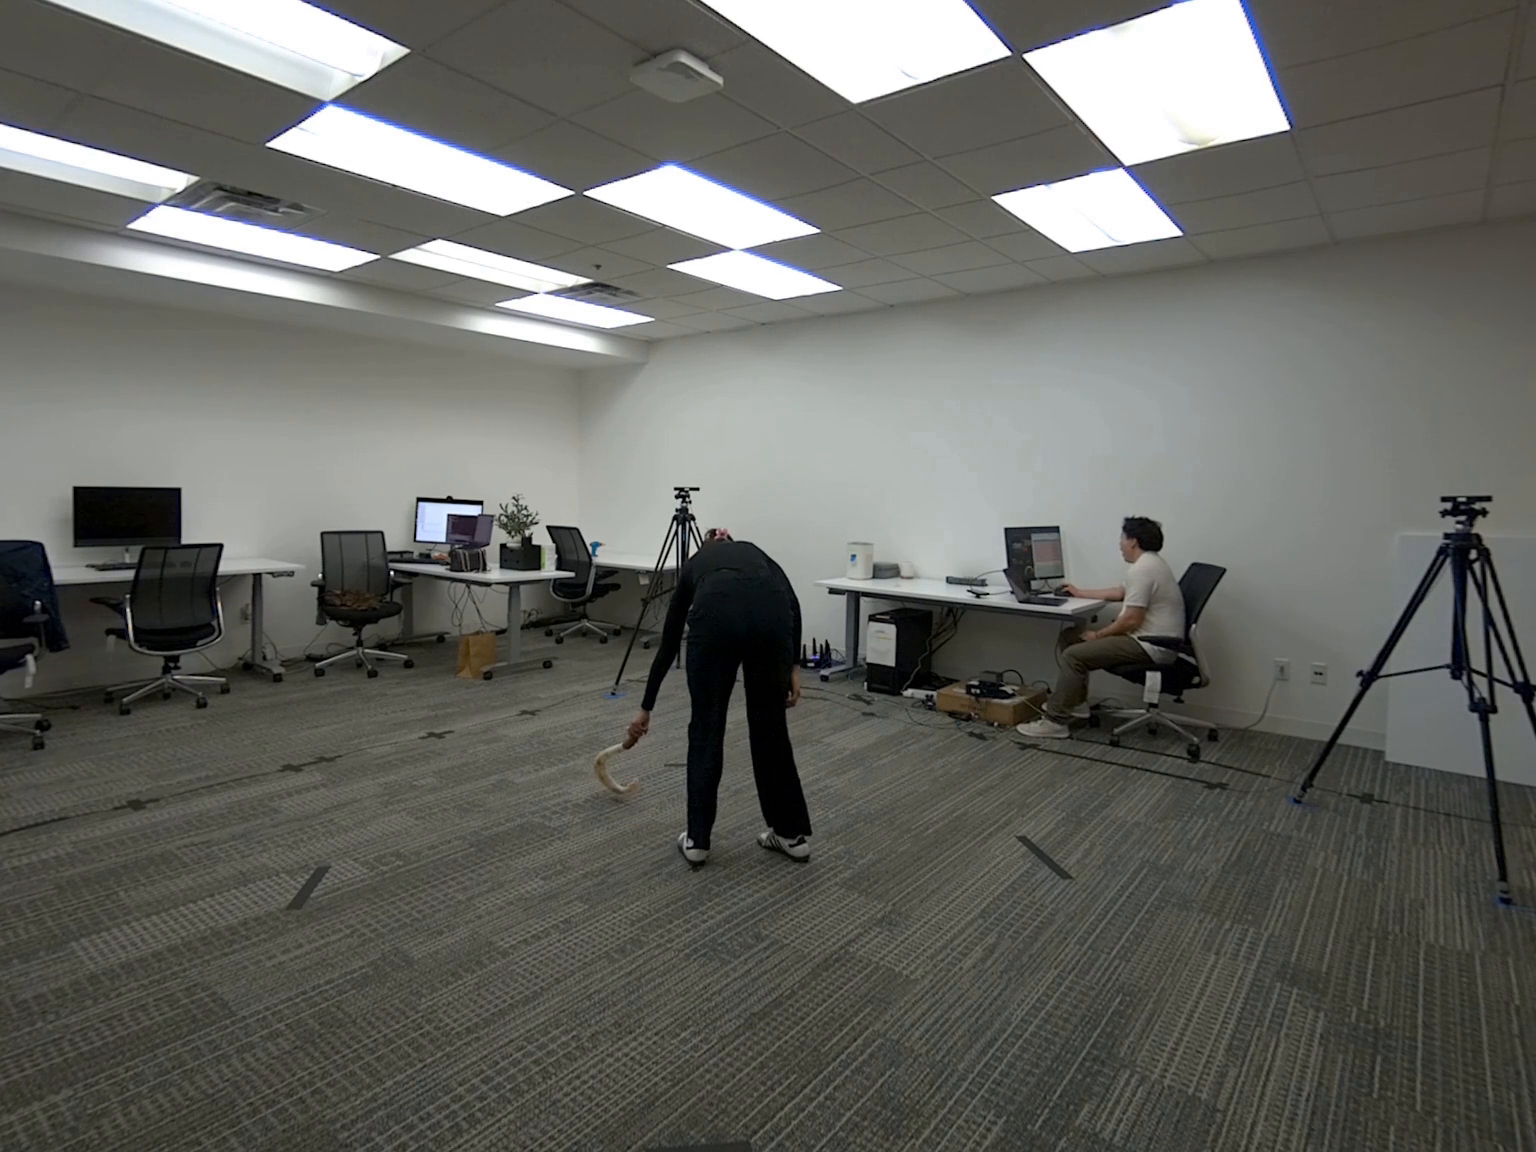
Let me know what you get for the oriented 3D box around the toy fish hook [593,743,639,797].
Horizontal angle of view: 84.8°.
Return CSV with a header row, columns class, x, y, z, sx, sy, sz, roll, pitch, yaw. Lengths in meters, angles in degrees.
class,x,y,z,sx,sy,sz,roll,pitch,yaw
toy fish hook,-0.606,0.787,3.686,0.505,0.226,0.048,-50,-4,39
